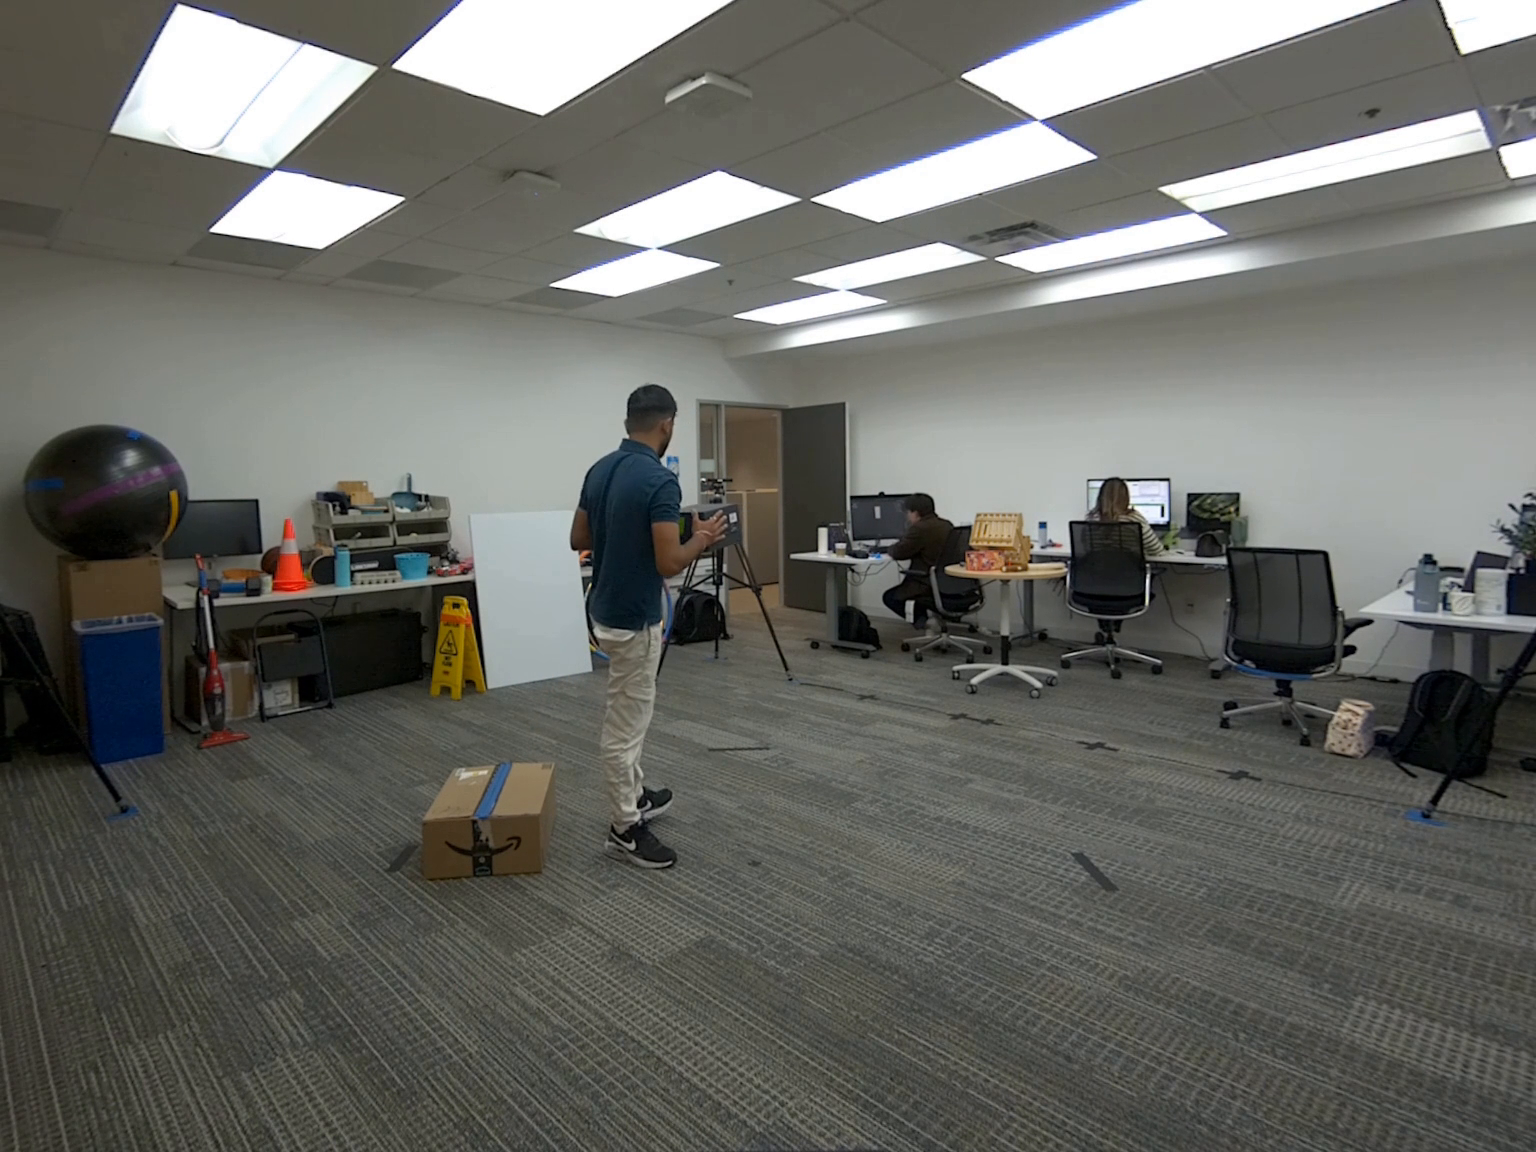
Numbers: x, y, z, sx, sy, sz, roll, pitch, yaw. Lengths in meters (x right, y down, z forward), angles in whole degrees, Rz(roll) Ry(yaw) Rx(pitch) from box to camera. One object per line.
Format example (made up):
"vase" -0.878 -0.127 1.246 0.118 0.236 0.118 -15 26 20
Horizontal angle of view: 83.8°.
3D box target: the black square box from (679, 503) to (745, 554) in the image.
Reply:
"black square box" -0.257 -0.191 3.345 0.234 0.154 0.213 2 13 38
